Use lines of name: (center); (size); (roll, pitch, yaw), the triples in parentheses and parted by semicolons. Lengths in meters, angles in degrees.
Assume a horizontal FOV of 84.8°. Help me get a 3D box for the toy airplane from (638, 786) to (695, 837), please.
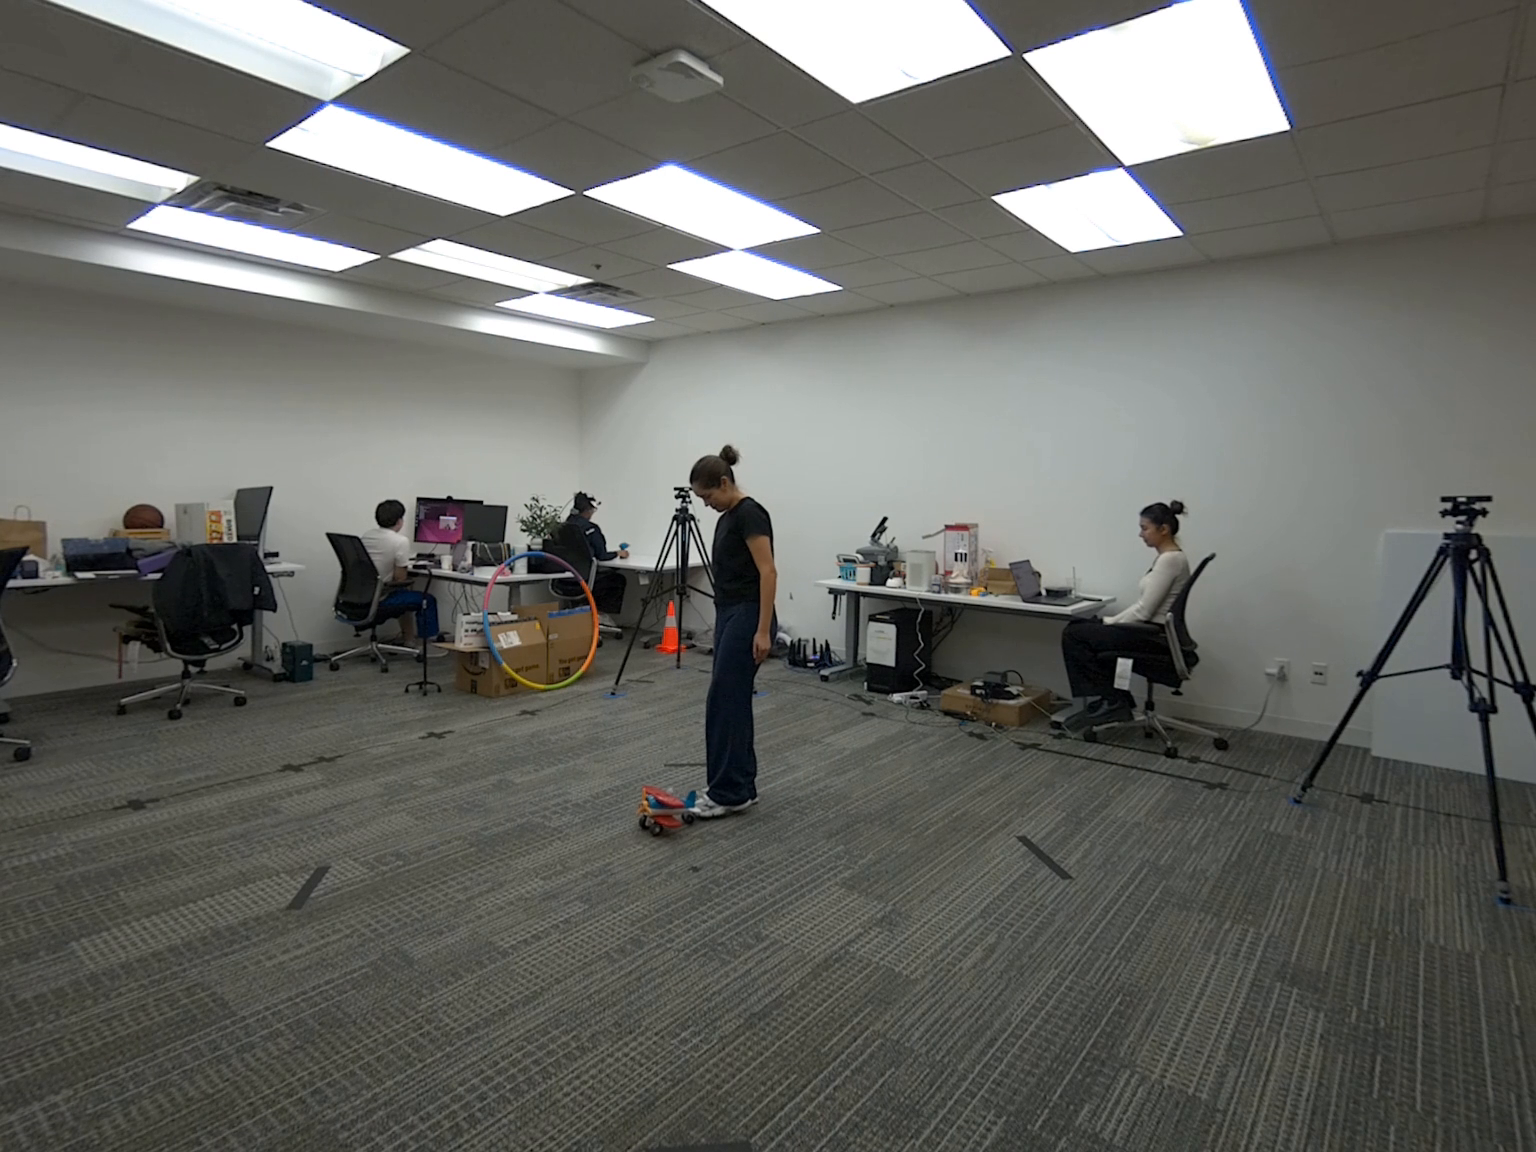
toy airplane: (-0.405, 0.947, 3.504); (0.258, 0.155, 0.254); (1, 8, 27)
